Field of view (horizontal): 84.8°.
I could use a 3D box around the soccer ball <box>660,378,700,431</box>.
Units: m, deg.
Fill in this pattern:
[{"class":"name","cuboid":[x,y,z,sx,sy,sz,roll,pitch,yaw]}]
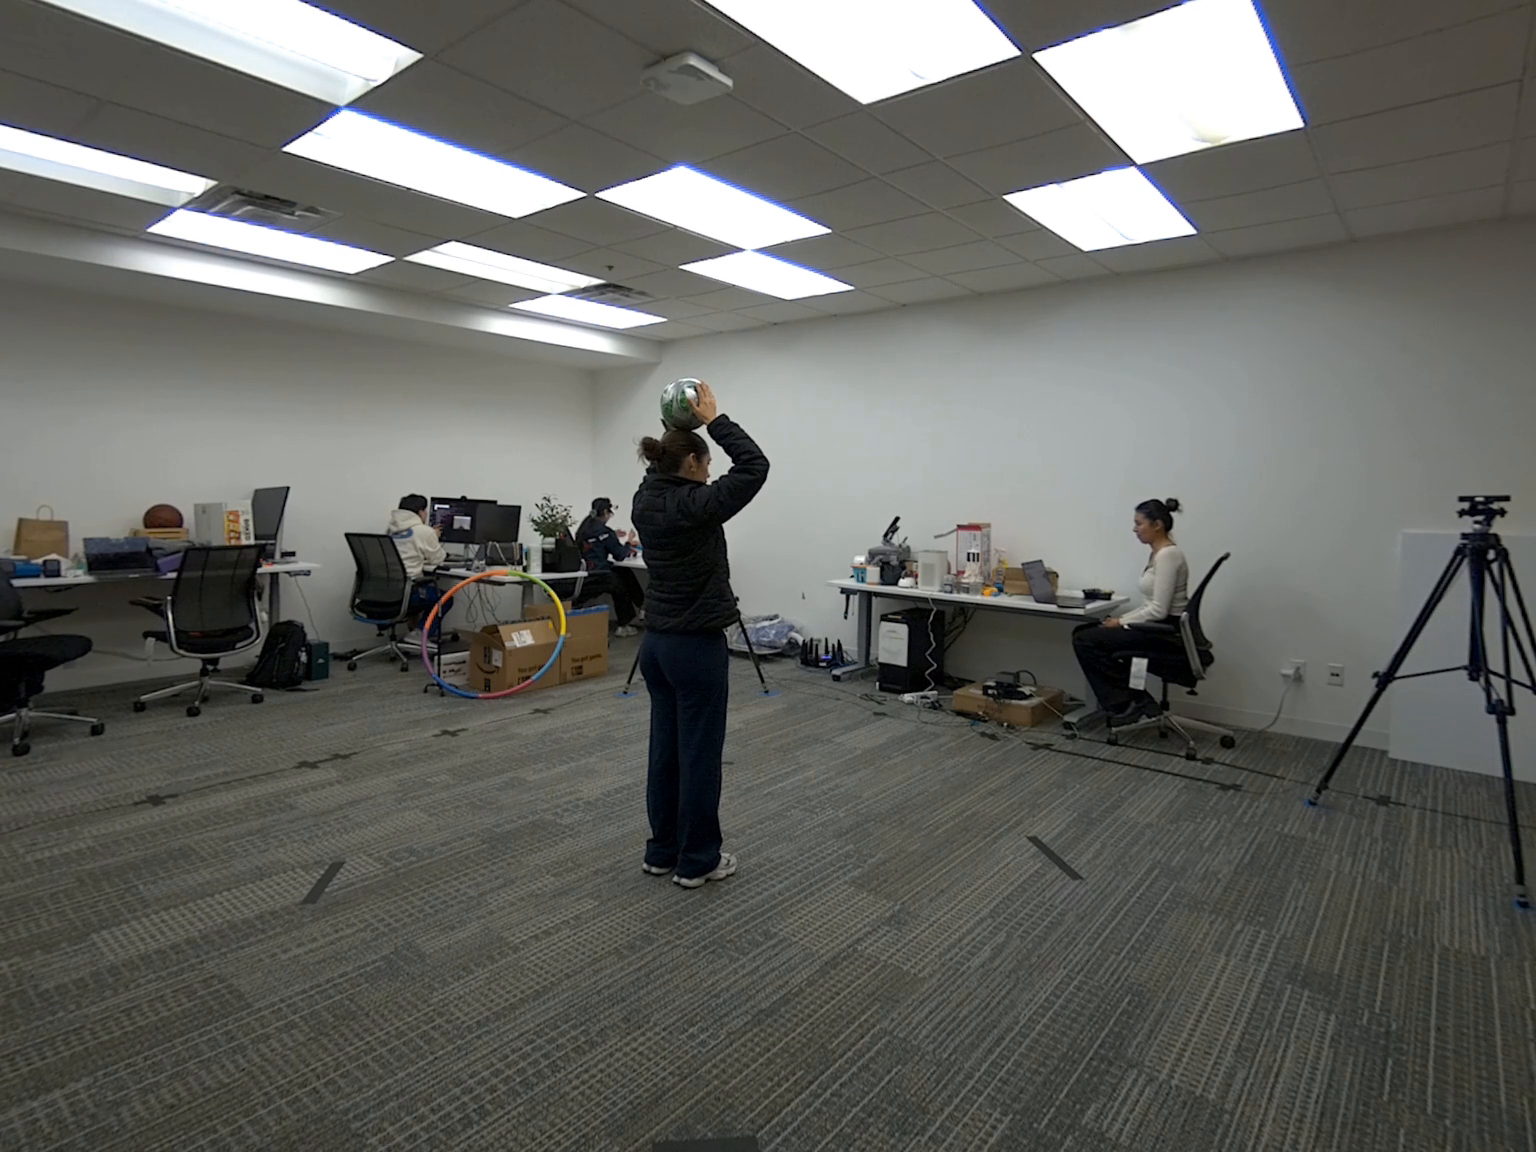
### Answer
[{"class":"soccer ball","cuboid":[-0.301,-0.614,3.042,0.187,0.187,0.188,1,4,-2]}]
